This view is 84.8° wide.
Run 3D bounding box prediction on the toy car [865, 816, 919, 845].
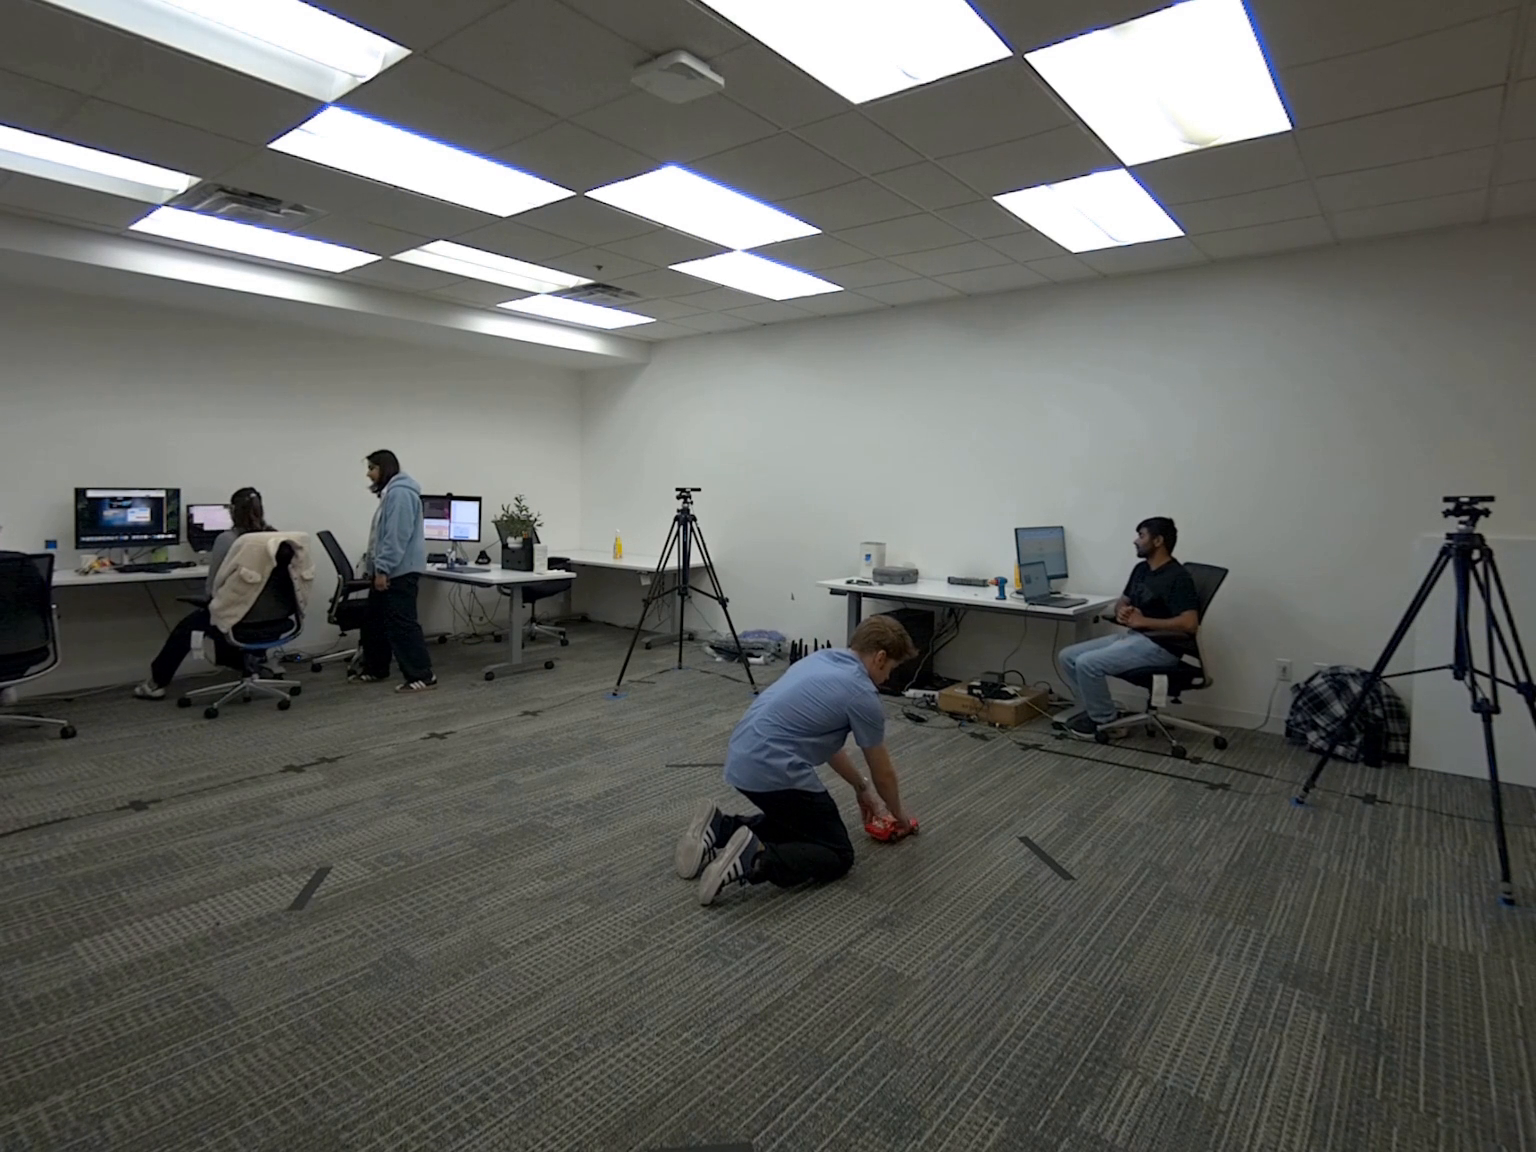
[{"bbox_3d":[0.494,1.020,3.436,0.245,0.083,0.134,11,-3,-39],"label":"toy car"}]
